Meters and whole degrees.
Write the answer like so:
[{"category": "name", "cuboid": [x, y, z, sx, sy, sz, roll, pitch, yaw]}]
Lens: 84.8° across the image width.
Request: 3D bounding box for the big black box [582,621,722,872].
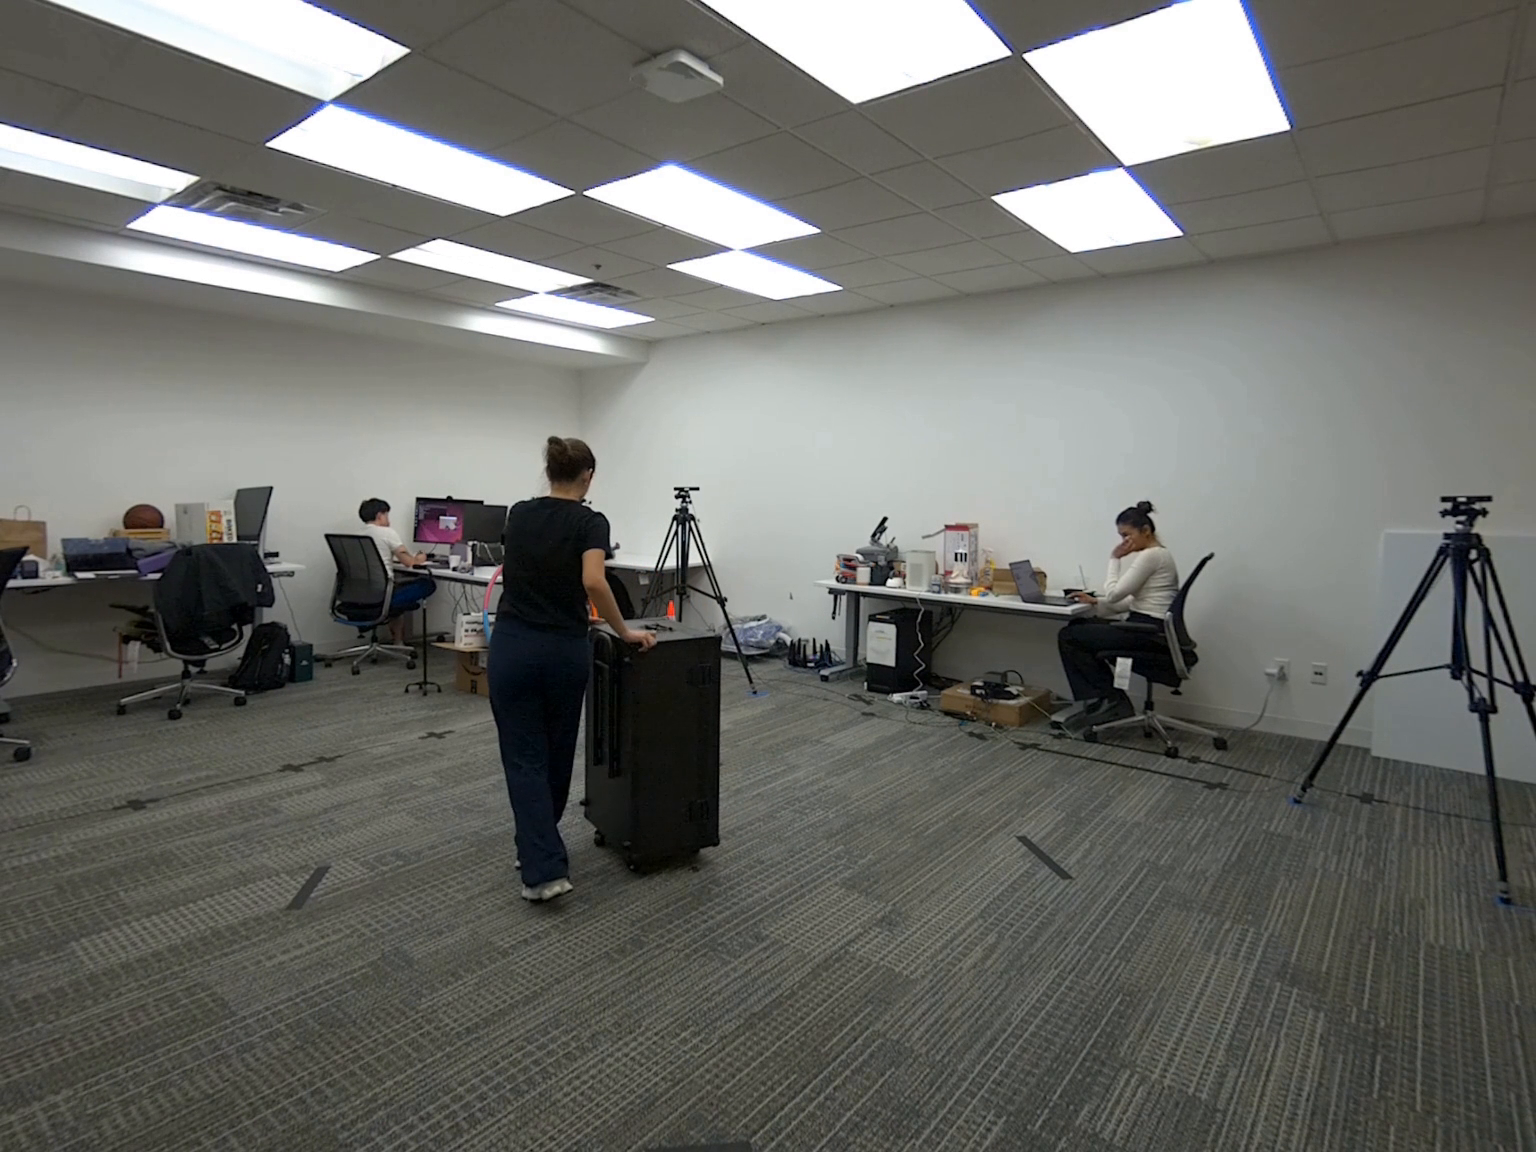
[{"category": "big black box", "cuboid": [-0.440, 0.622, 3.258, 0.386, 0.858, 0.537, -2, 5, -30]}]
